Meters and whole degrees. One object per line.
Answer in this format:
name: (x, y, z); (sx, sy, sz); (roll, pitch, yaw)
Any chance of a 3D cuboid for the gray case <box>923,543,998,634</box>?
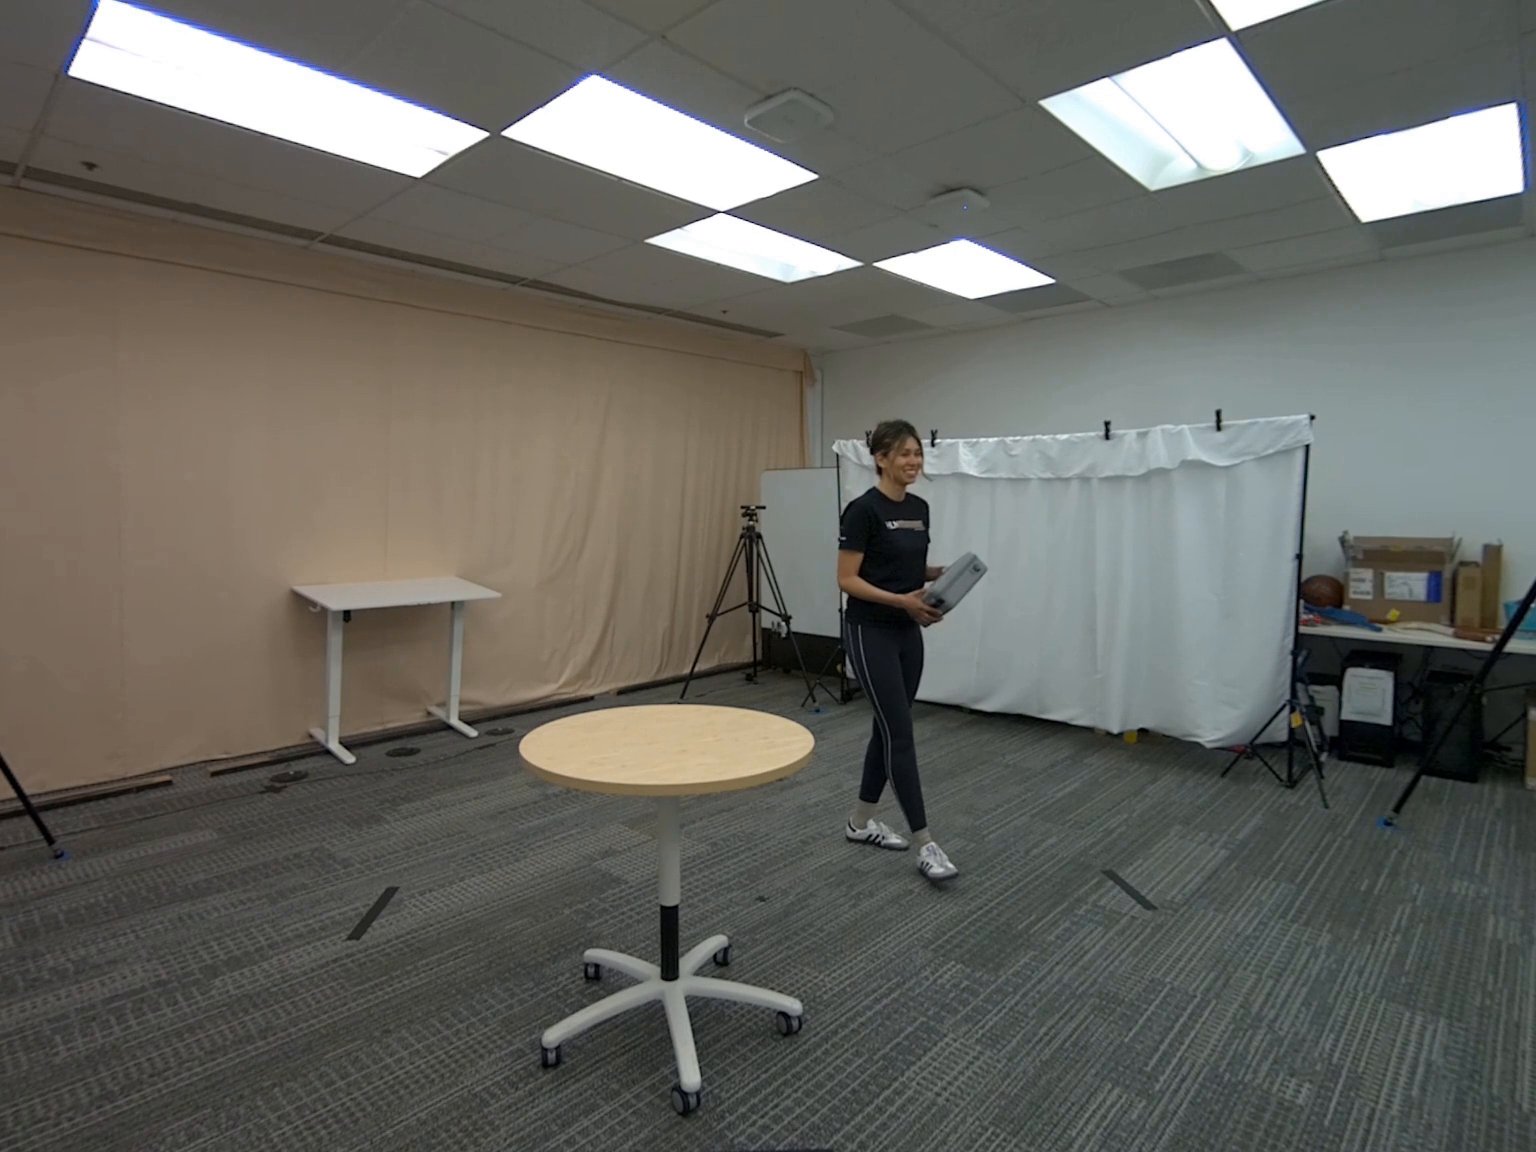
gray case: (0.667, 0.046, 3.098); (0.258, 0.105, 0.256); (-43, -8, -24)
